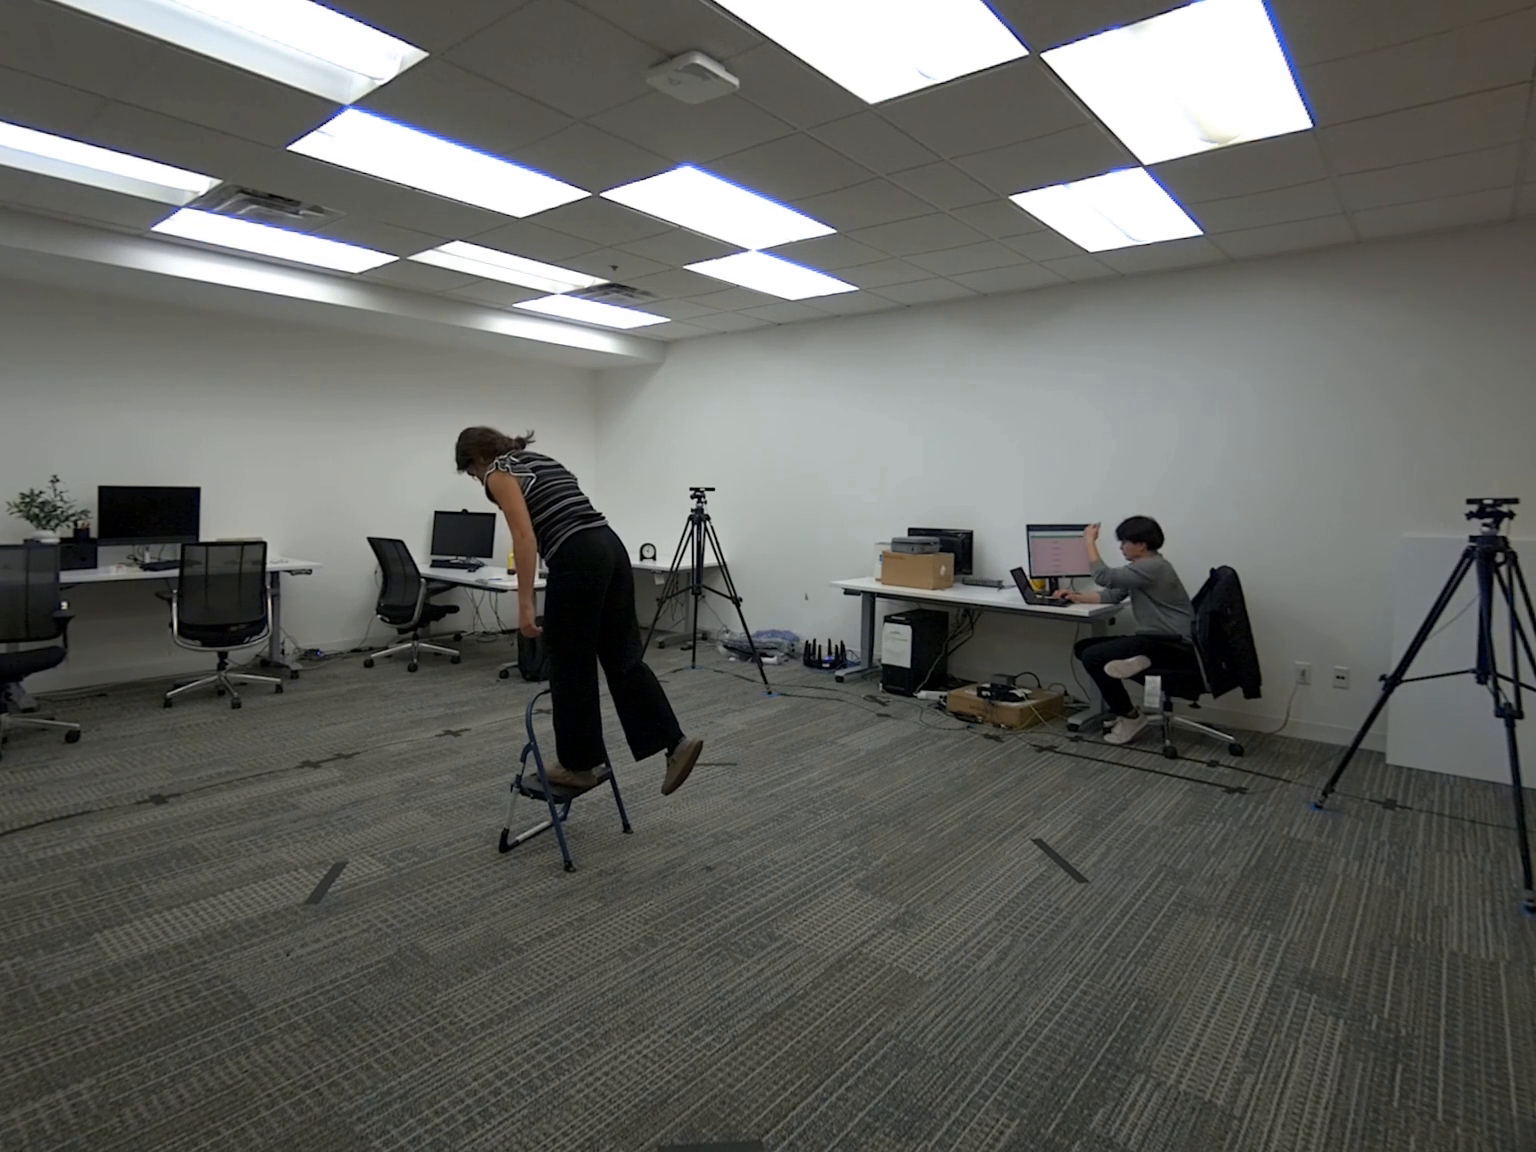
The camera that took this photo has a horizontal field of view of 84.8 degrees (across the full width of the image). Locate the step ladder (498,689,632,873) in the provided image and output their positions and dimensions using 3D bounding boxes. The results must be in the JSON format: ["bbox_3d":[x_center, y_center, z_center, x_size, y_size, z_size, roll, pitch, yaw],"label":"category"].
[{"bbox_3d":[-0.789,0.736,3.311,0.358,0.605,0.421,3,3,24],"label":"step ladder"}]
